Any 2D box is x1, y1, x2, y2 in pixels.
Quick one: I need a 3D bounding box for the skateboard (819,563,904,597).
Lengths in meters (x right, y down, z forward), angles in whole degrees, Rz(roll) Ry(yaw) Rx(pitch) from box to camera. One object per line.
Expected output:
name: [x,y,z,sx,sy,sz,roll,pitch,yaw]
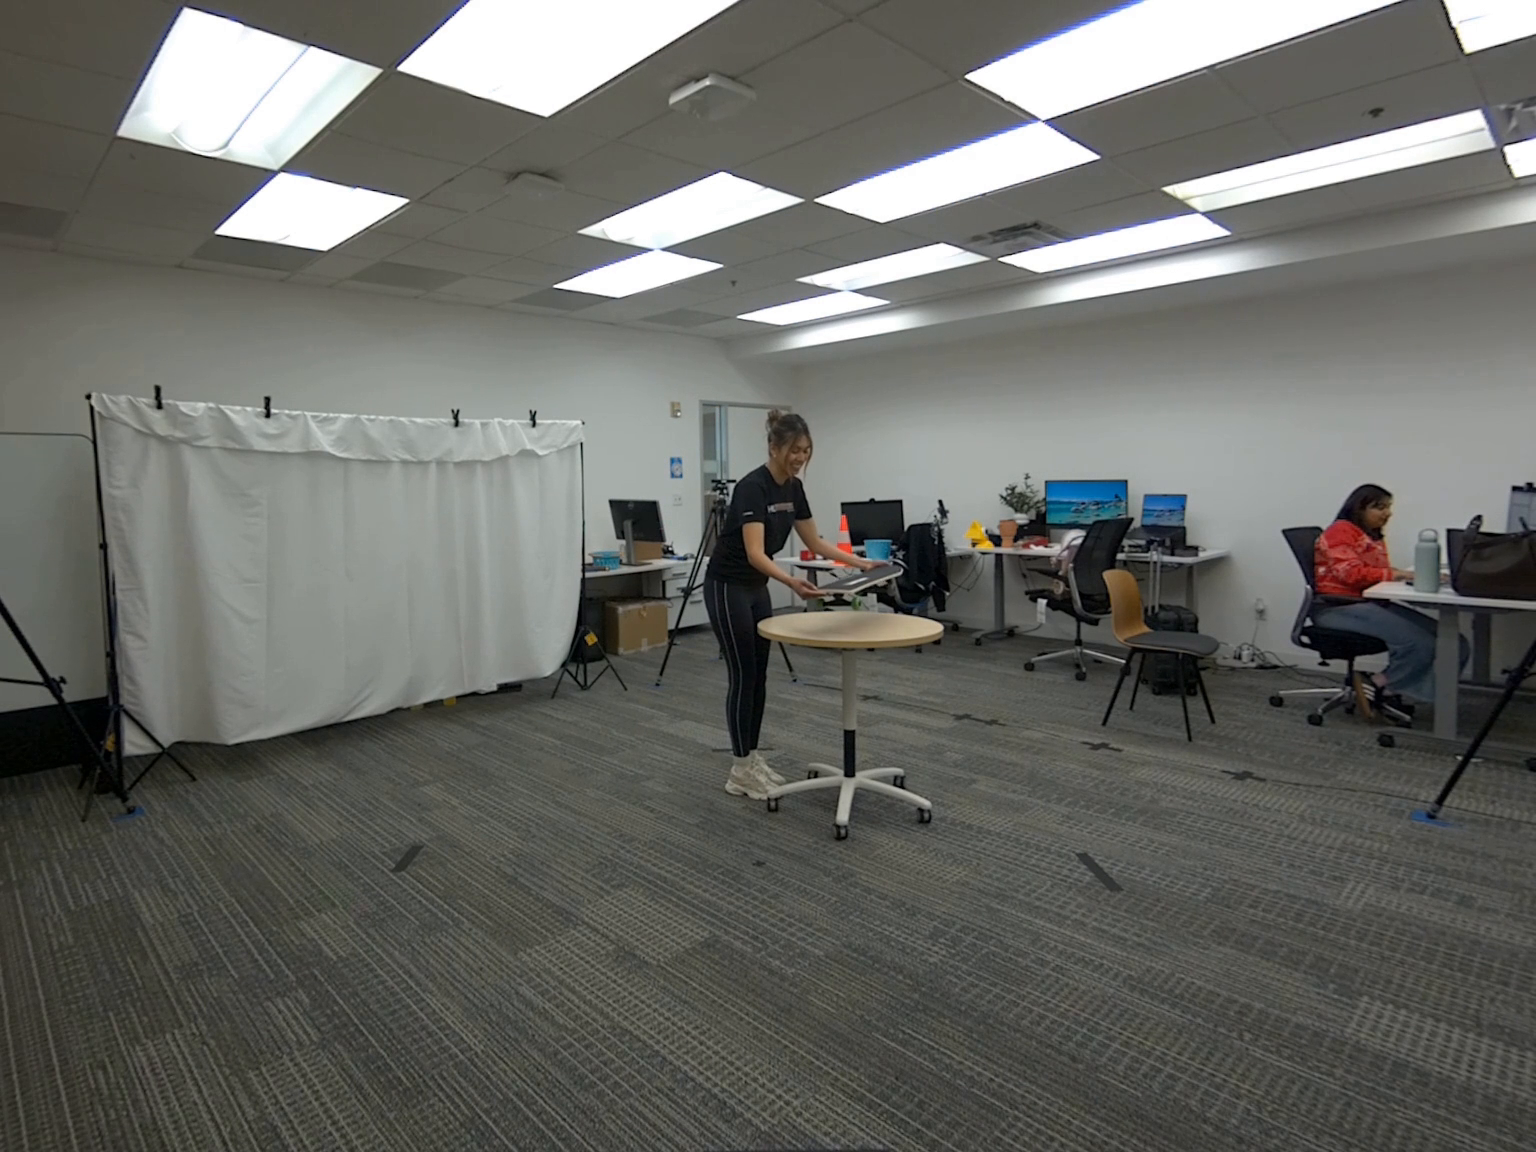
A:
skateboard: [0.363,0.058,3.551,0.198,0.110,0.770,-2,7,30]
